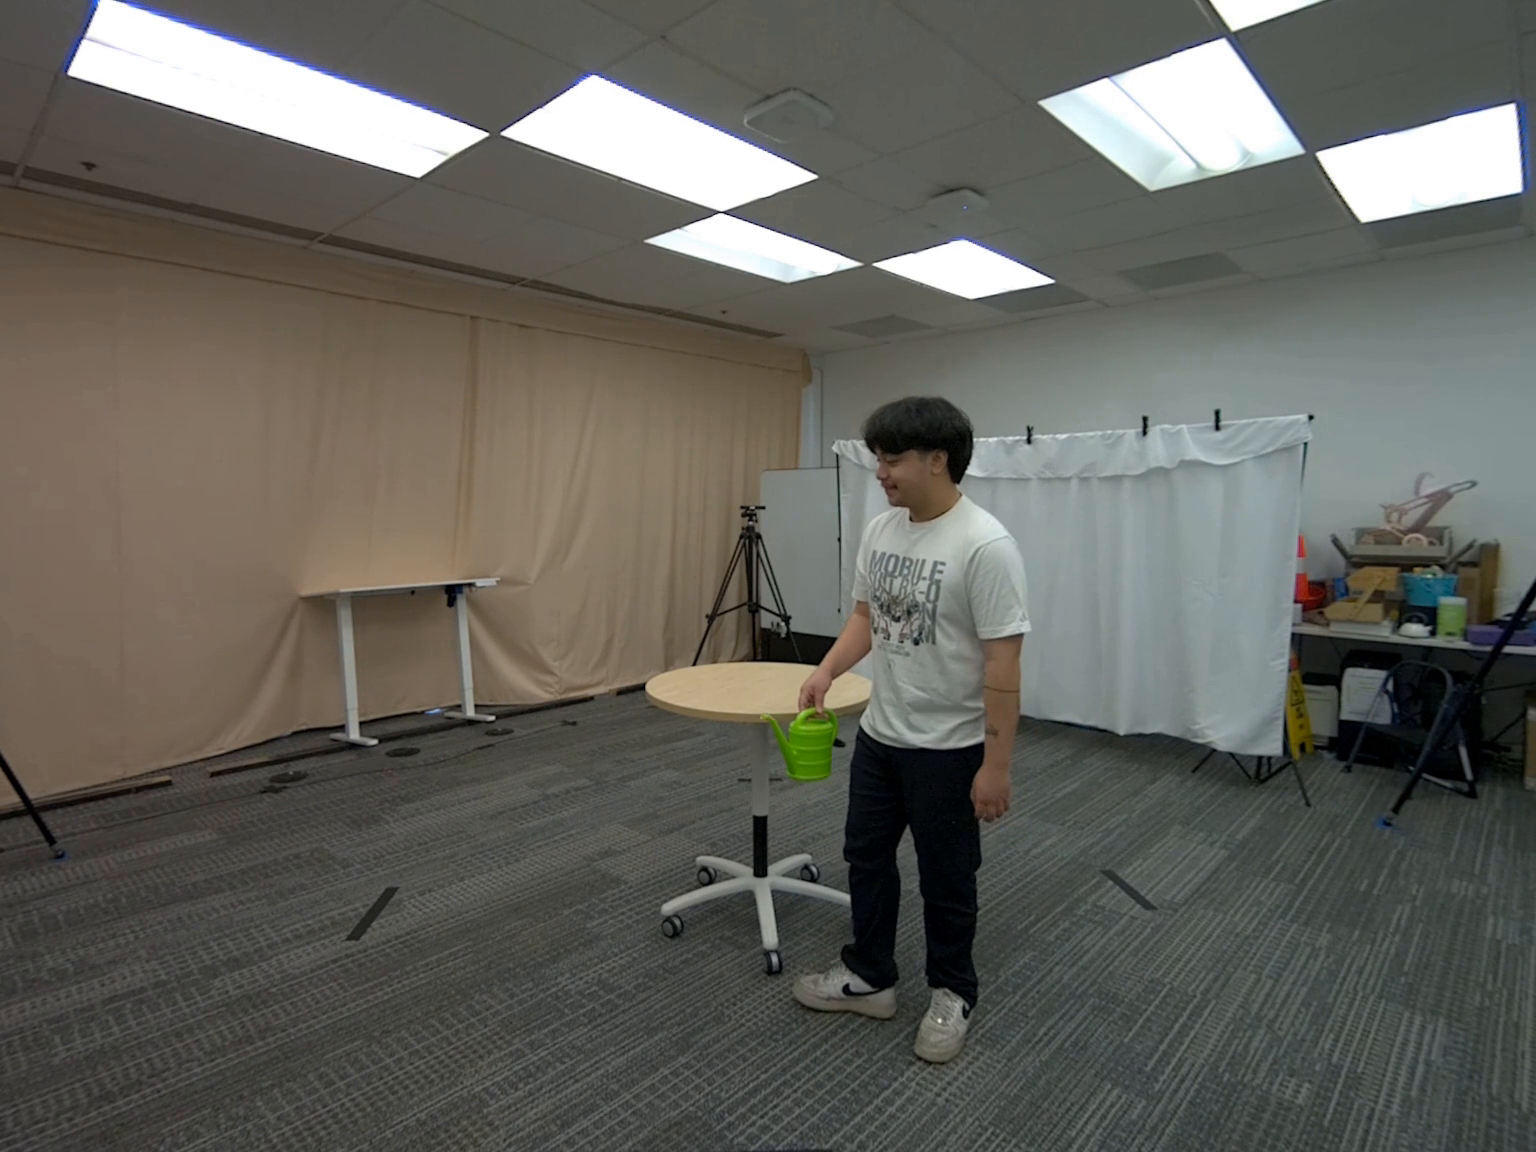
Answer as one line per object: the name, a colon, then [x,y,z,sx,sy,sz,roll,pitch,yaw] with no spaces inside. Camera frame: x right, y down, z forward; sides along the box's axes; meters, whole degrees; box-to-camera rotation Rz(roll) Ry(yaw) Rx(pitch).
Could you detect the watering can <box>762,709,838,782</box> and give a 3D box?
watering can: [0.082,0.427,2.144,0.270,0.176,0.101,2,2,-30]
